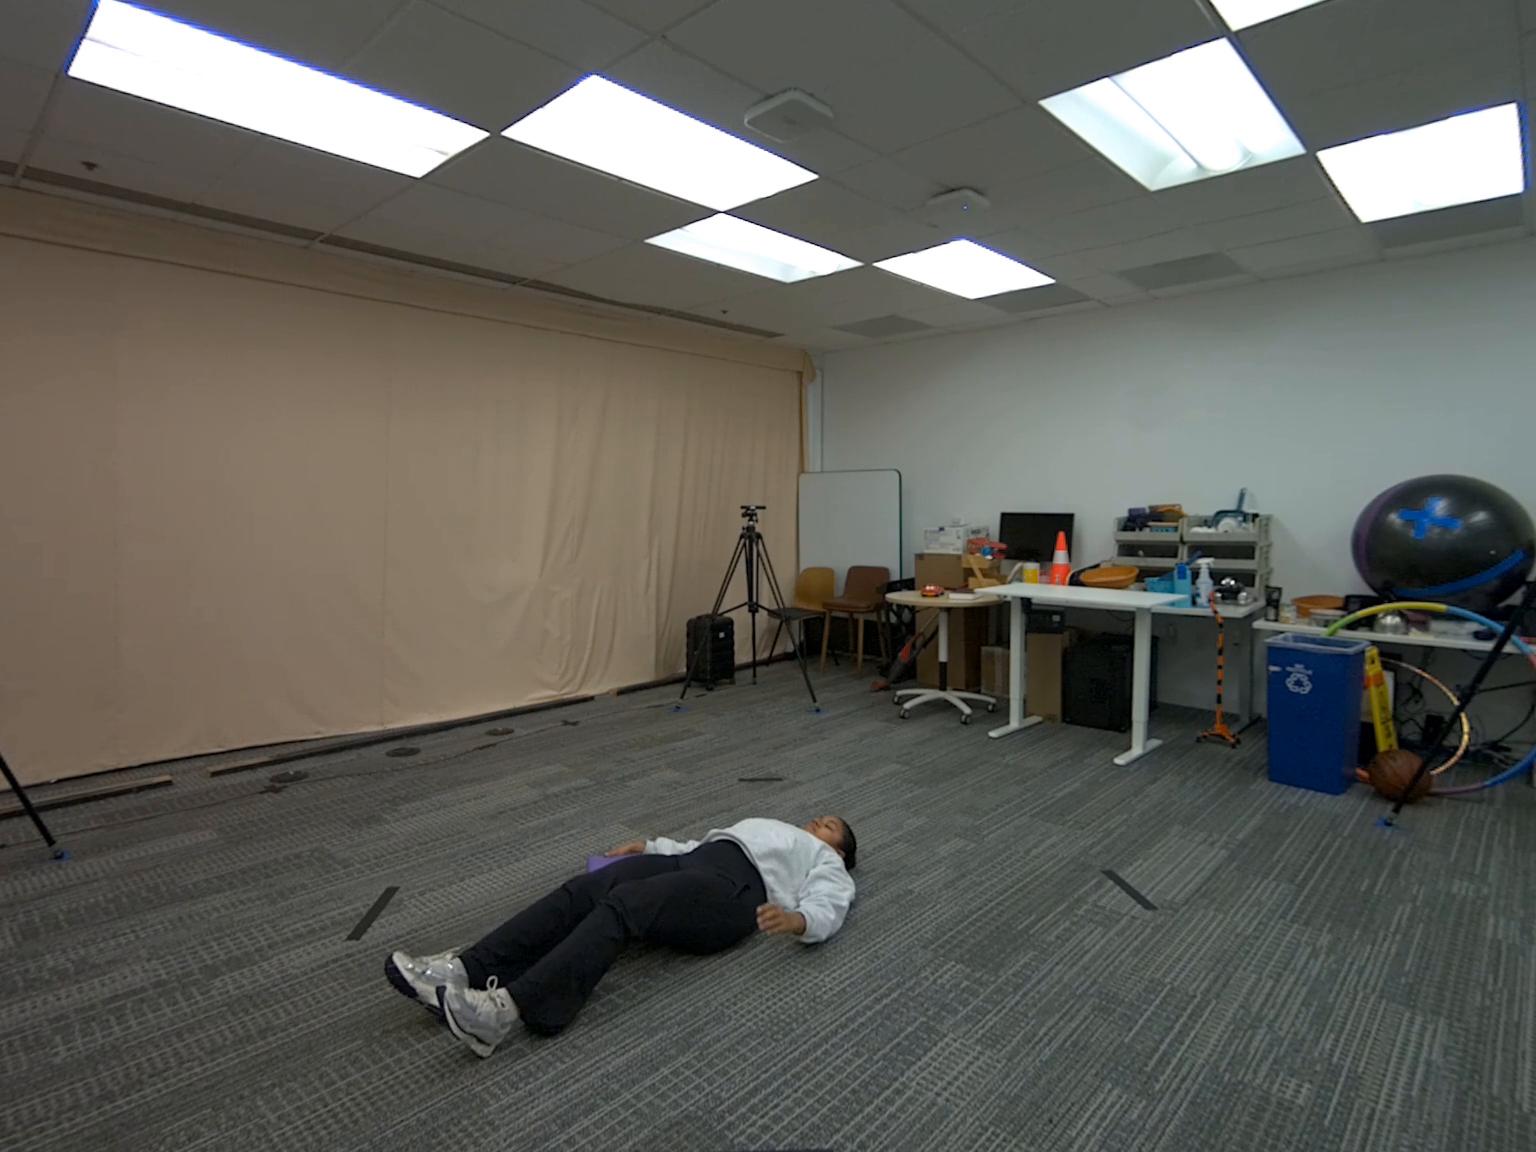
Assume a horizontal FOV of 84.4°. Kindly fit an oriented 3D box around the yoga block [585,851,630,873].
[{"bbox_3d":[-0.547,1.080,3.103,0.226,0.076,0.151,-1,3,-16],"label":"yoga block"}]
